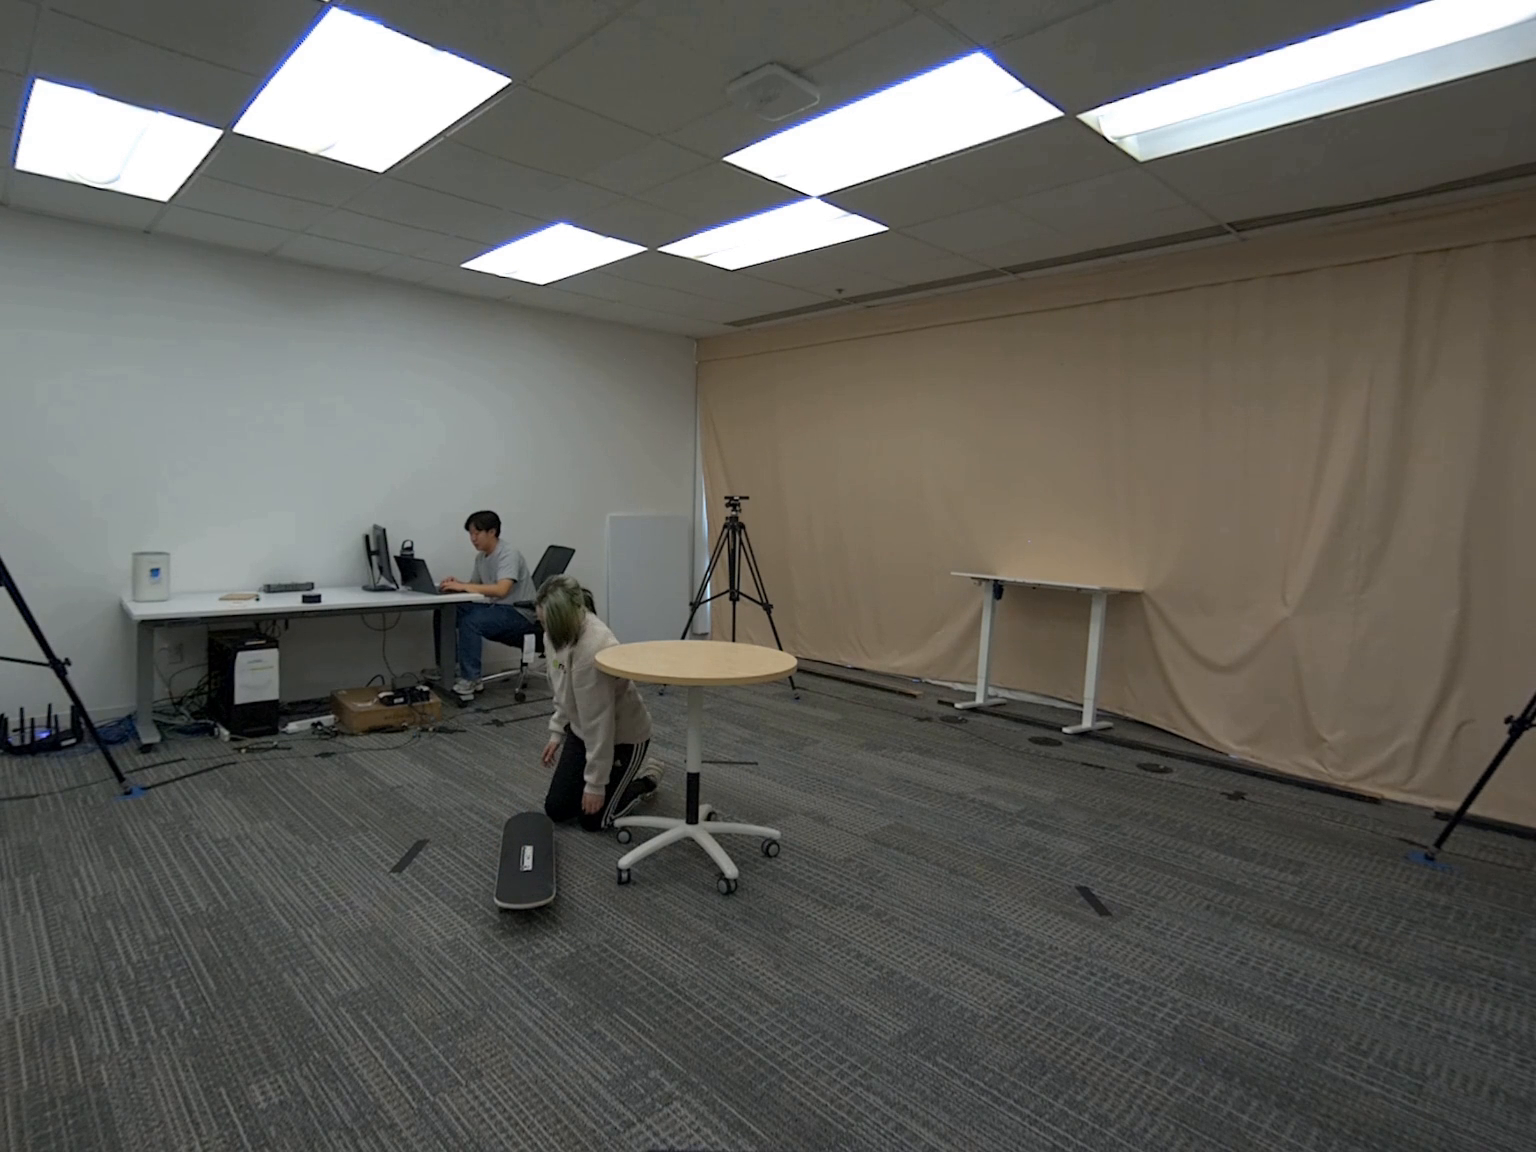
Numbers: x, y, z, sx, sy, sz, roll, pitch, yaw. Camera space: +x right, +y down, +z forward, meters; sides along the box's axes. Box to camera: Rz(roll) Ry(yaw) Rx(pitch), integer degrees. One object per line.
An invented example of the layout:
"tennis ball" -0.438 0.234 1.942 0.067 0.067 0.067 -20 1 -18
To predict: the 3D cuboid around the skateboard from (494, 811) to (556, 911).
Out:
"skateboard" -0.861 1.030 3.005 0.191 0.110 0.796 -1 6 -15
